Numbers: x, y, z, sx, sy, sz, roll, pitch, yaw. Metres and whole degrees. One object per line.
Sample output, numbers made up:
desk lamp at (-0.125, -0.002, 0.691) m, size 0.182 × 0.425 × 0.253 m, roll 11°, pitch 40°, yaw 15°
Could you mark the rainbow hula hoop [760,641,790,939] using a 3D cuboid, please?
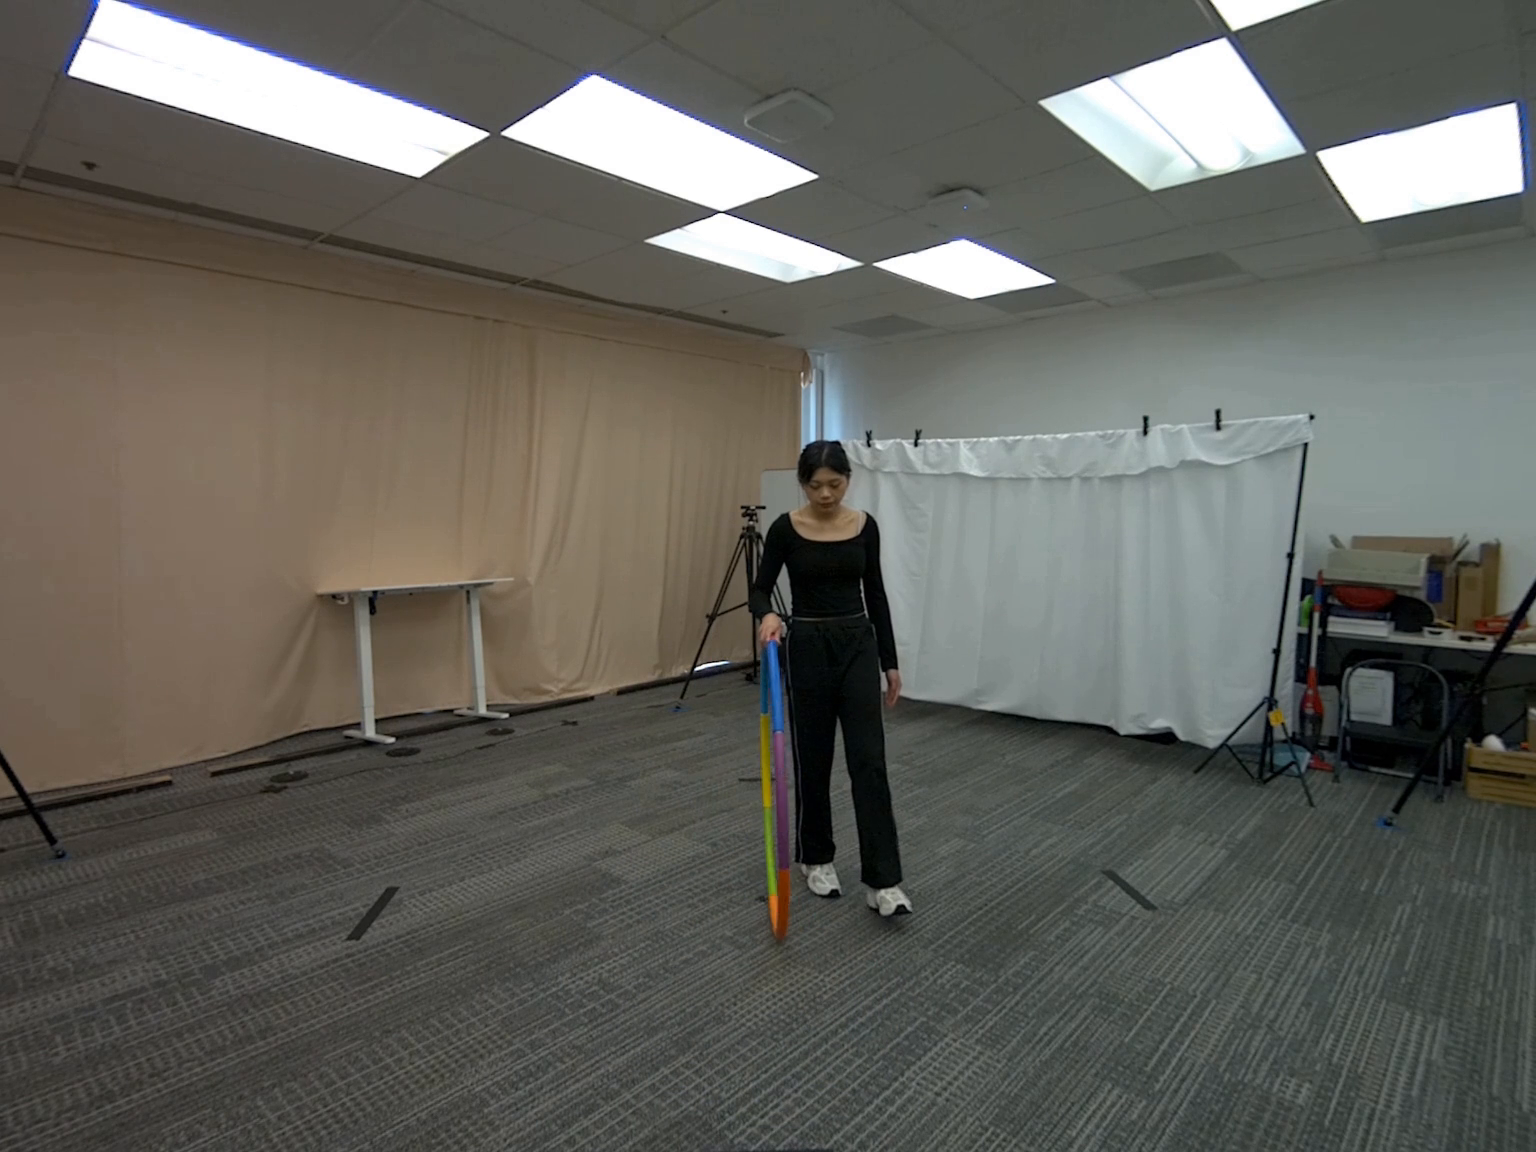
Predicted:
rainbow hula hoop at (0.012, 0.670, 2.811) m, size 0.035 × 0.976 × 0.982 m, roll -2°, pitch 4°, yaw -3°
